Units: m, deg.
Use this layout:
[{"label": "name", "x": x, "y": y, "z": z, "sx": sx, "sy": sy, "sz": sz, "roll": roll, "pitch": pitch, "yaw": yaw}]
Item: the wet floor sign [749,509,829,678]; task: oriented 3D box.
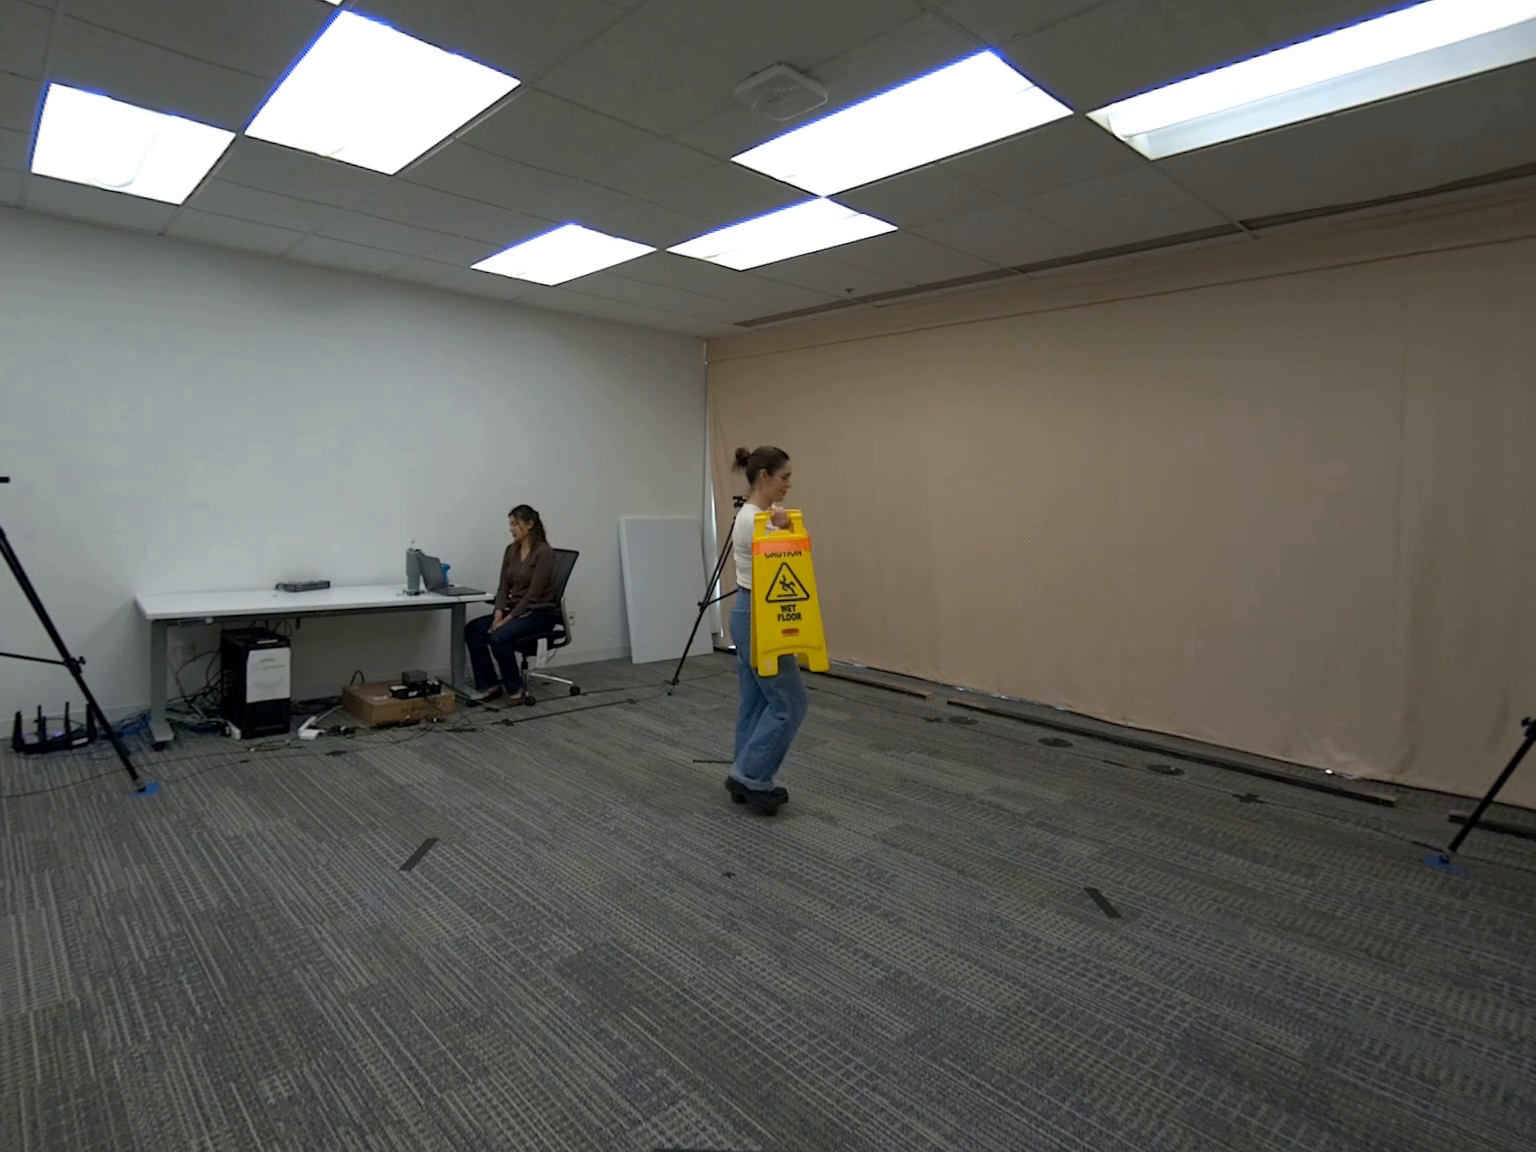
[{"label": "wet floor sign", "x": 0.055, "y": 0.059, "z": 3.444, "sx": 0.281, "sy": 0.647, "sz": 0.291, "roll": -2, "pitch": -2, "yaw": -8}]
